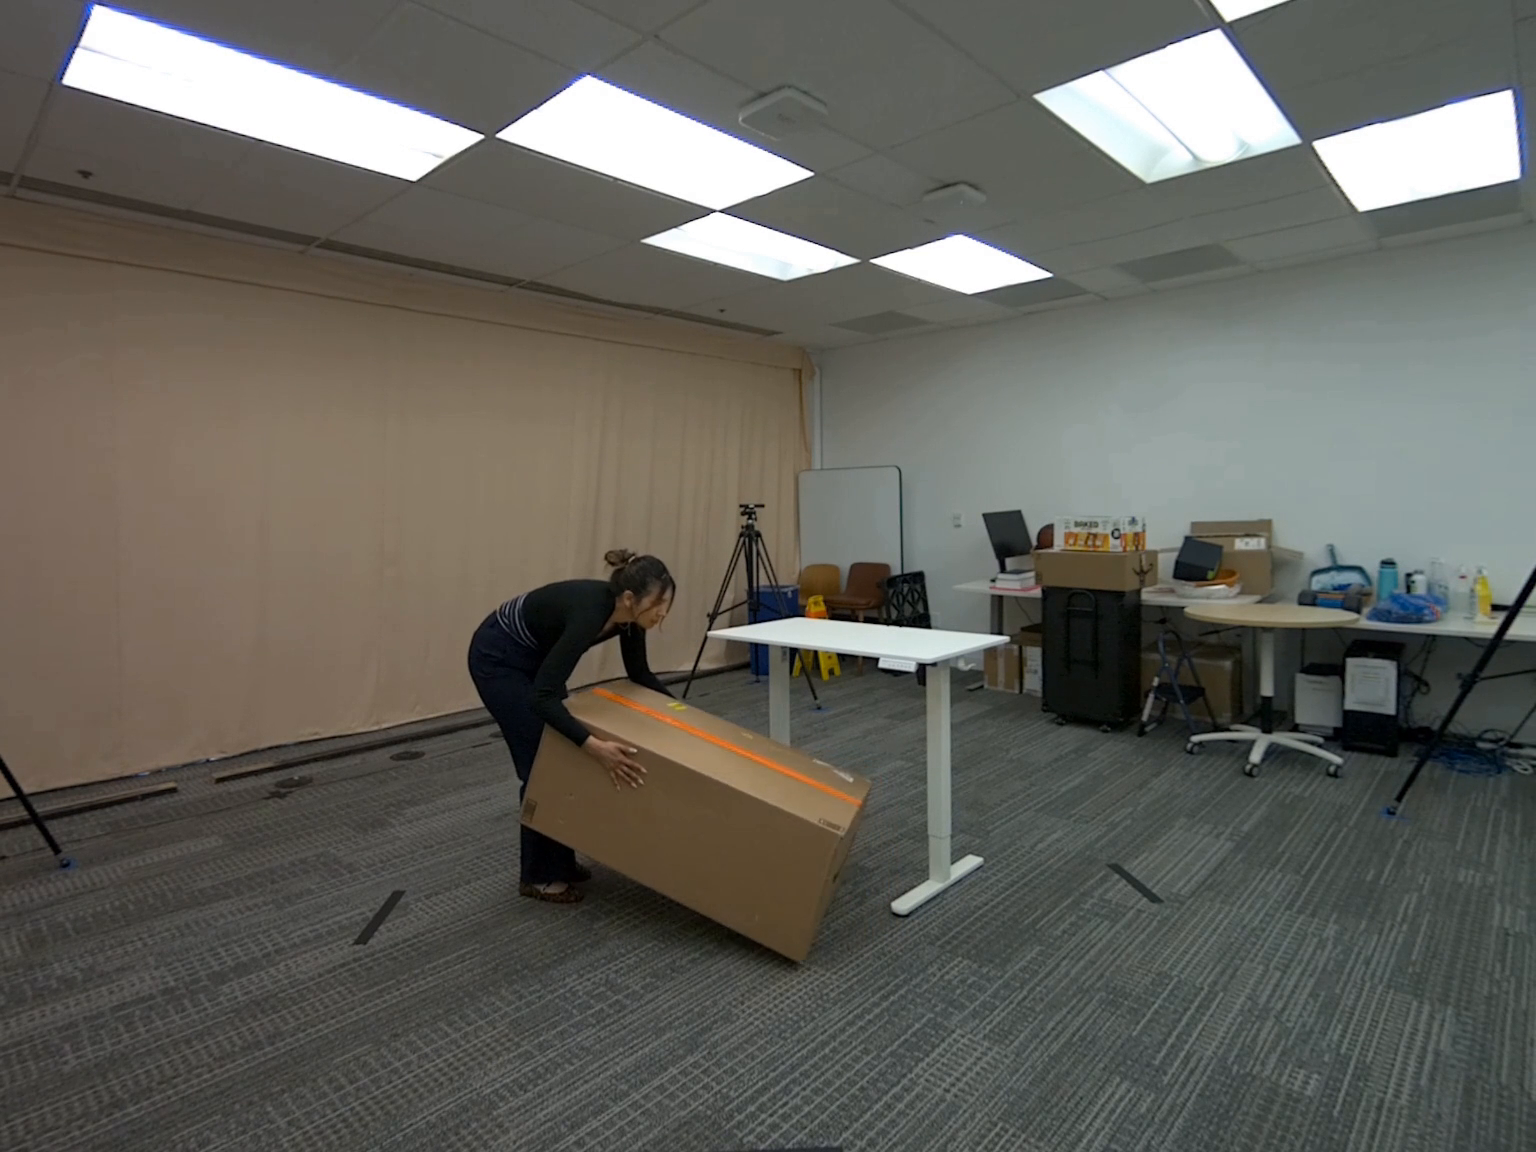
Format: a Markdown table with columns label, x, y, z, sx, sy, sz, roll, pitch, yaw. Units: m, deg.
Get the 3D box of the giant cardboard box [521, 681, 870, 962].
| label | x | y | z | sx | sy | sz | roll | pitch | yaw |
| --- | --- | --- | --- | --- | --- | --- | --- | --- | --- |
| giant cardboard box | -0.220 | 0.770 | 2.882 | 1.048 | 0.425 | 0.566 | 18 | 6 | 17 |
